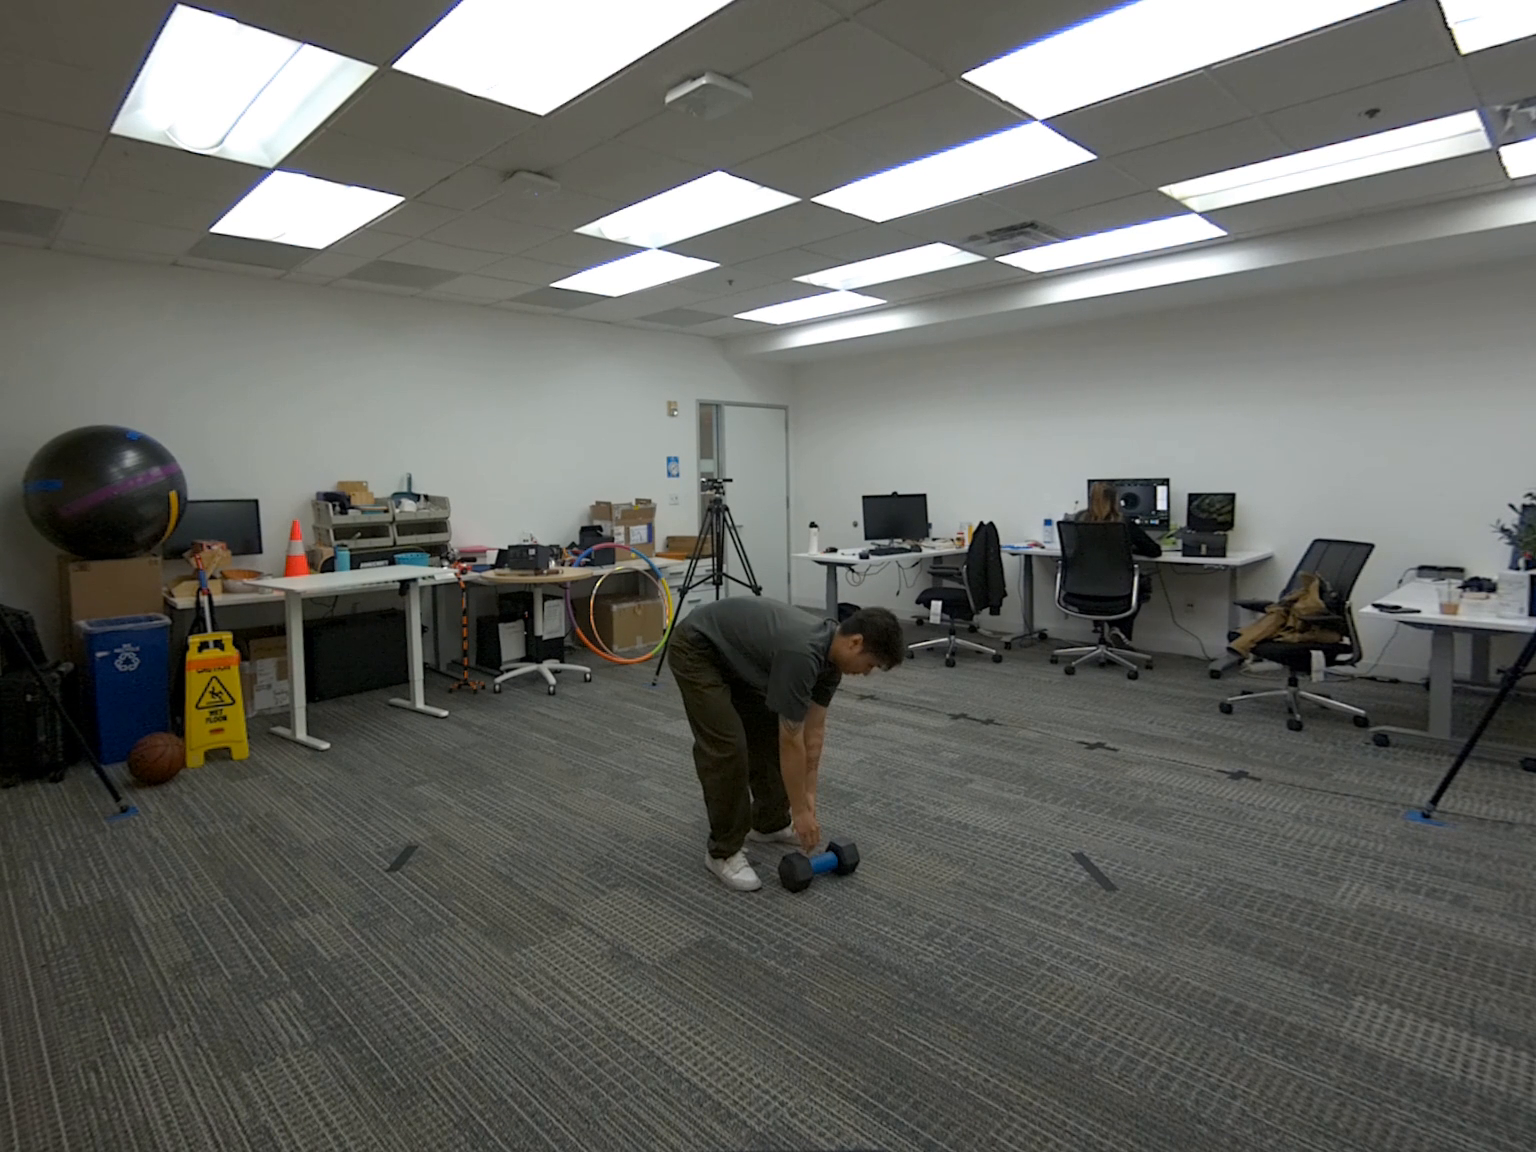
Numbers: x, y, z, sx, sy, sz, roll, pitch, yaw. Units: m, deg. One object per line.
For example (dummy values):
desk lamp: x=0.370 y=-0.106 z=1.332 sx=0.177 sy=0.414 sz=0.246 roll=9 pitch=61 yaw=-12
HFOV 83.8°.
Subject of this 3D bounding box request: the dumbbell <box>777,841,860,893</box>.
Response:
dumbbell: x=0.181 y=0.998 z=2.966 sx=0.286 sy=0.121 sz=0.113 roll=-4 pitch=39 yaw=-33
